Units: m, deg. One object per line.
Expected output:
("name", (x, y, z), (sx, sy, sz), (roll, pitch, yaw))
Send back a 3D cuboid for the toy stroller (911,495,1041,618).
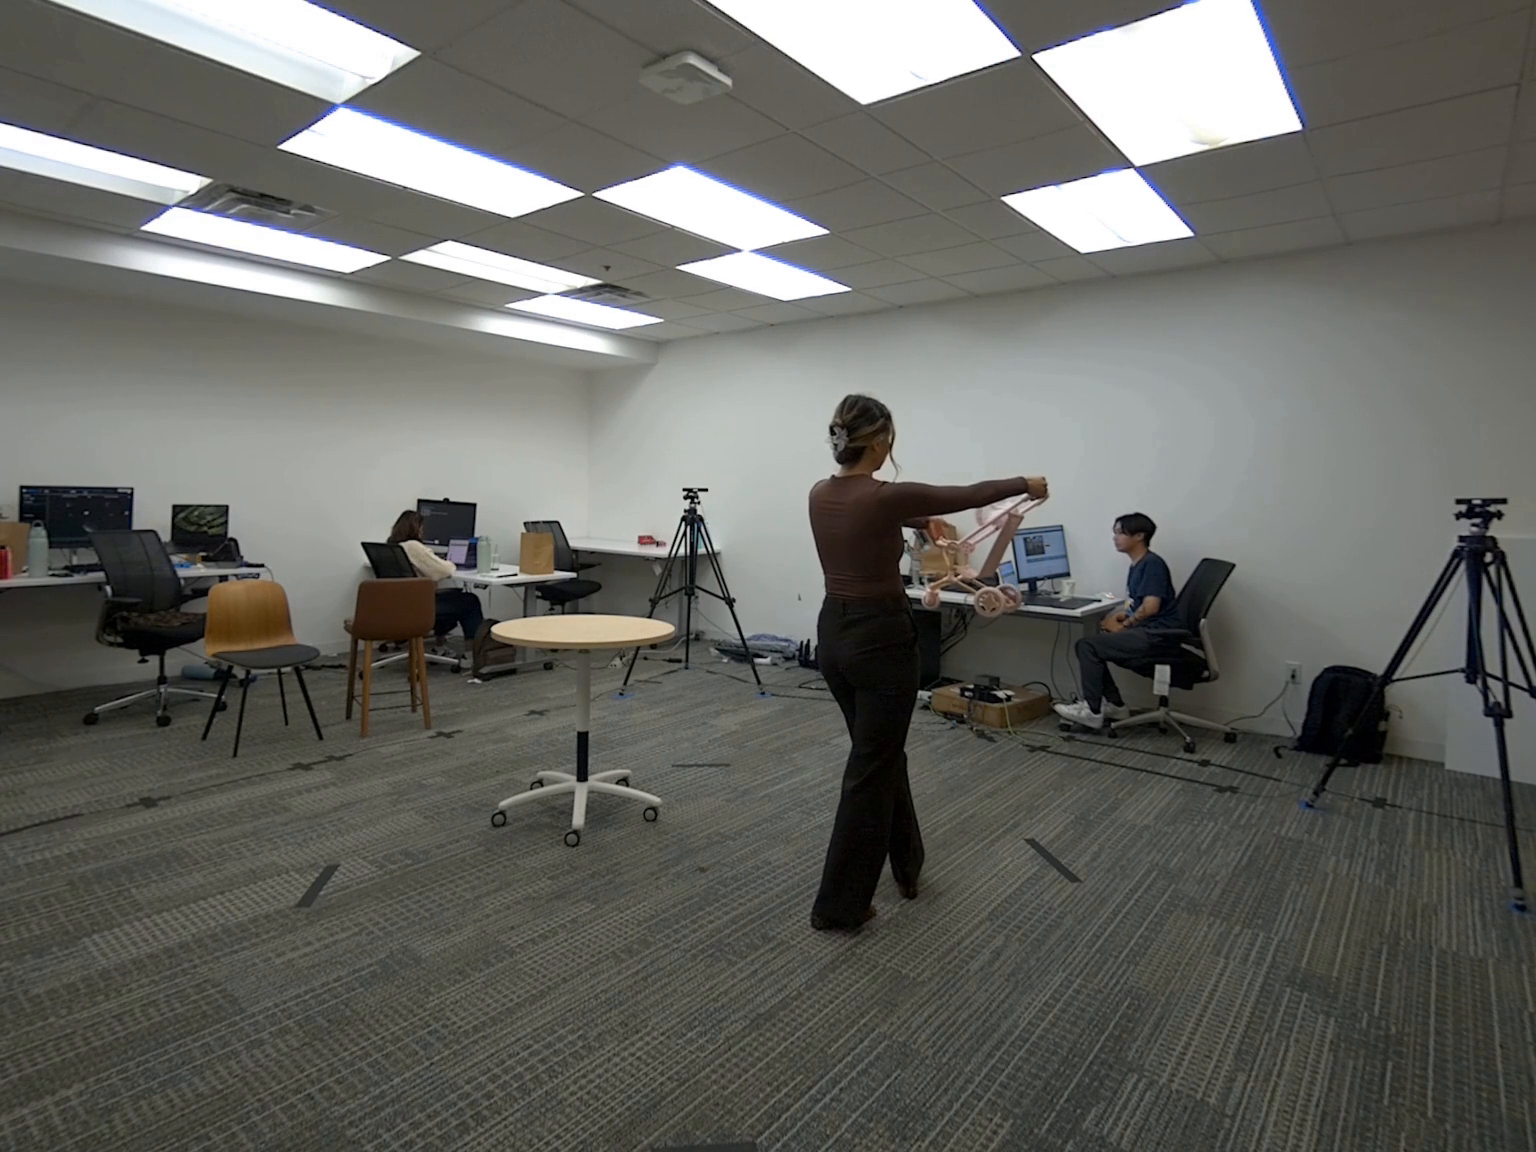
("toy stroller", (0.776, -0.094, 3.137), (0.354, 0.532, 0.273), (19, 10, 34))
